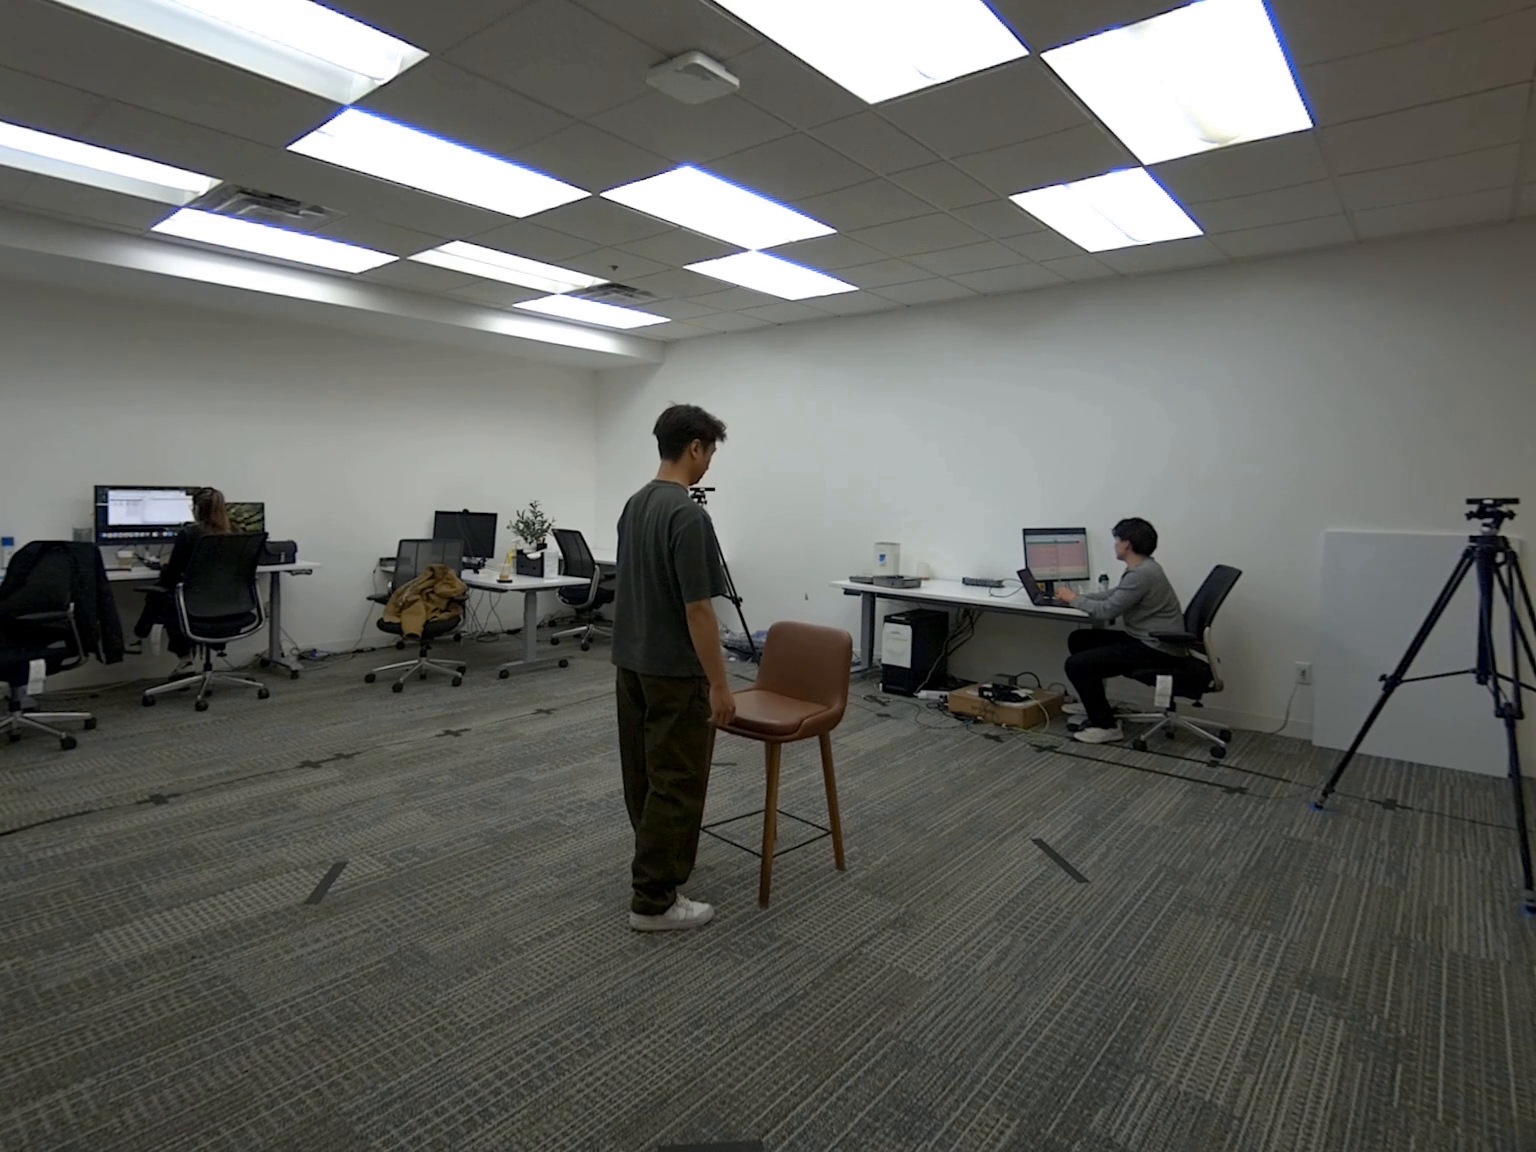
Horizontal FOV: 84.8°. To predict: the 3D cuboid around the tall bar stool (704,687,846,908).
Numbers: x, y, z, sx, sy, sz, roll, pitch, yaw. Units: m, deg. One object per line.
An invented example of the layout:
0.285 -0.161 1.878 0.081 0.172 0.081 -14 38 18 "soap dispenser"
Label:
-0.002 0.633 3.106 0.453 0.888 0.472 0 2 -45 "tall bar stool"
